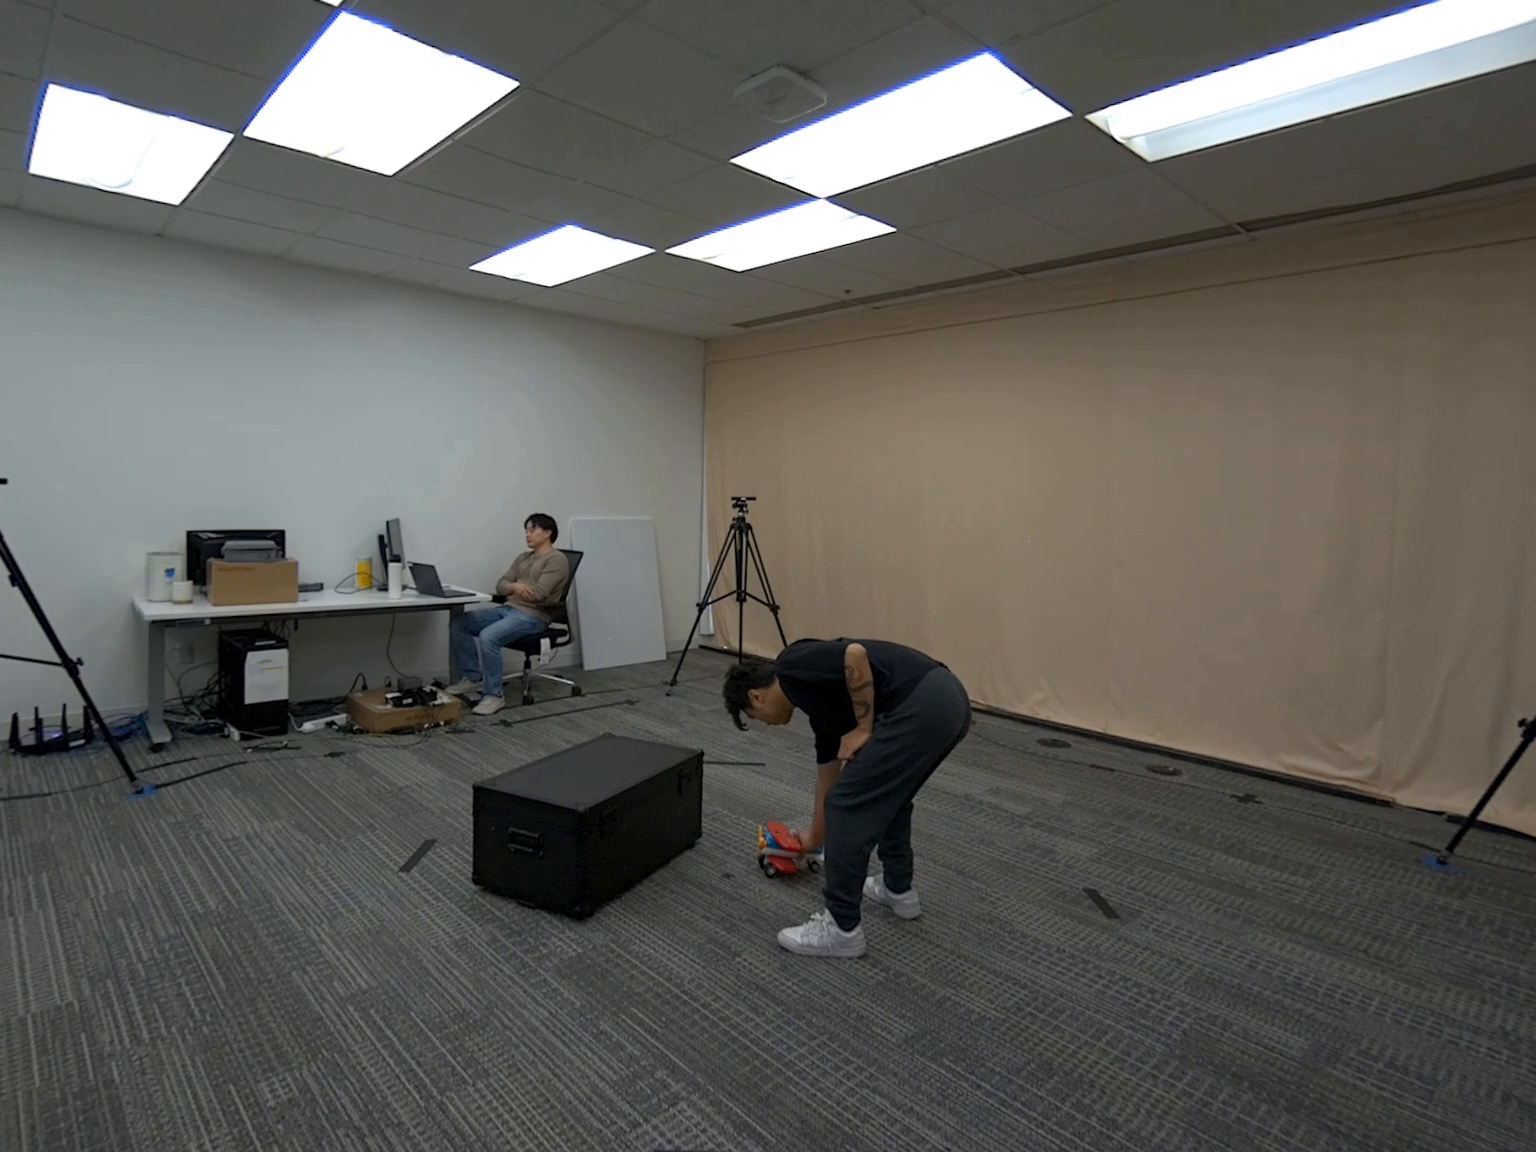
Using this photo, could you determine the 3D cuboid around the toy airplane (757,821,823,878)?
[{"bbox_3d":[0.066,1.029,3.175,0.253,0.156,0.257,-4,7,-42],"label":"toy airplane"}]
